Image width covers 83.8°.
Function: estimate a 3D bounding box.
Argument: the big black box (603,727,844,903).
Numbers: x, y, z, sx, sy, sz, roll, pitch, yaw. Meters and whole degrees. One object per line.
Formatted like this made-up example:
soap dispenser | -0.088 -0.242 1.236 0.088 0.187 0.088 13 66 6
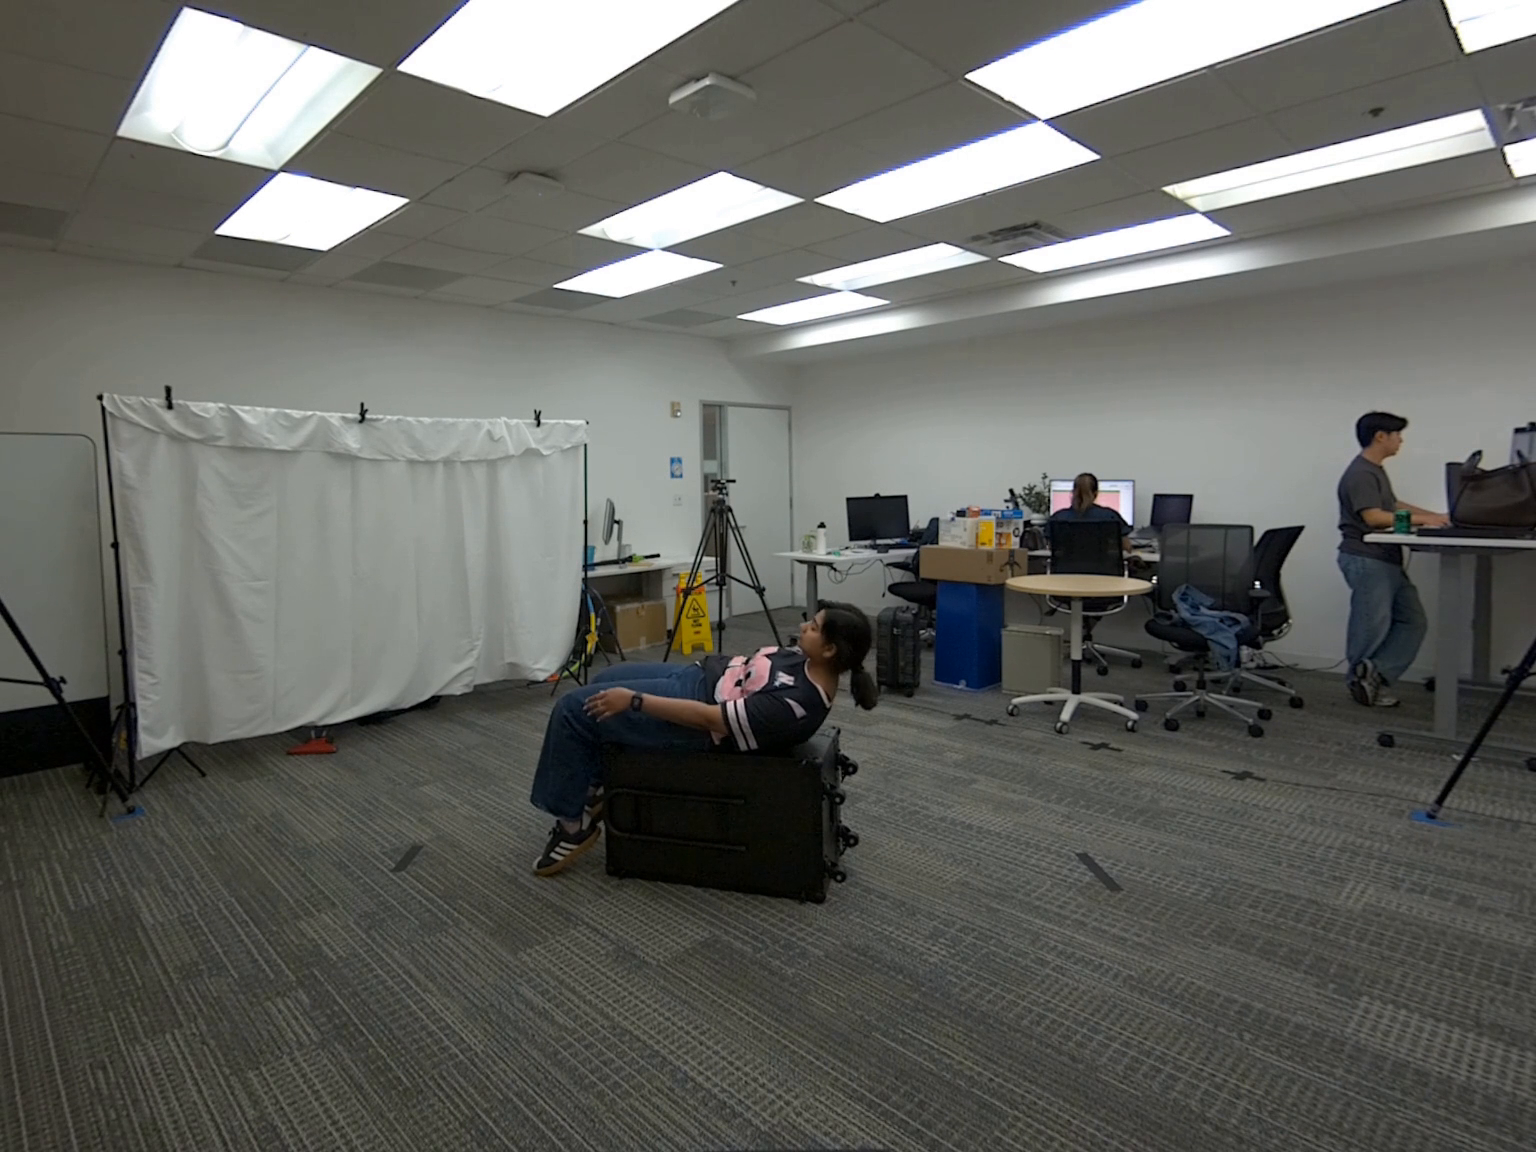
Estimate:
big black box | -0.120 0.792 3.052 0.883 0.522 0.380 1 4 17
